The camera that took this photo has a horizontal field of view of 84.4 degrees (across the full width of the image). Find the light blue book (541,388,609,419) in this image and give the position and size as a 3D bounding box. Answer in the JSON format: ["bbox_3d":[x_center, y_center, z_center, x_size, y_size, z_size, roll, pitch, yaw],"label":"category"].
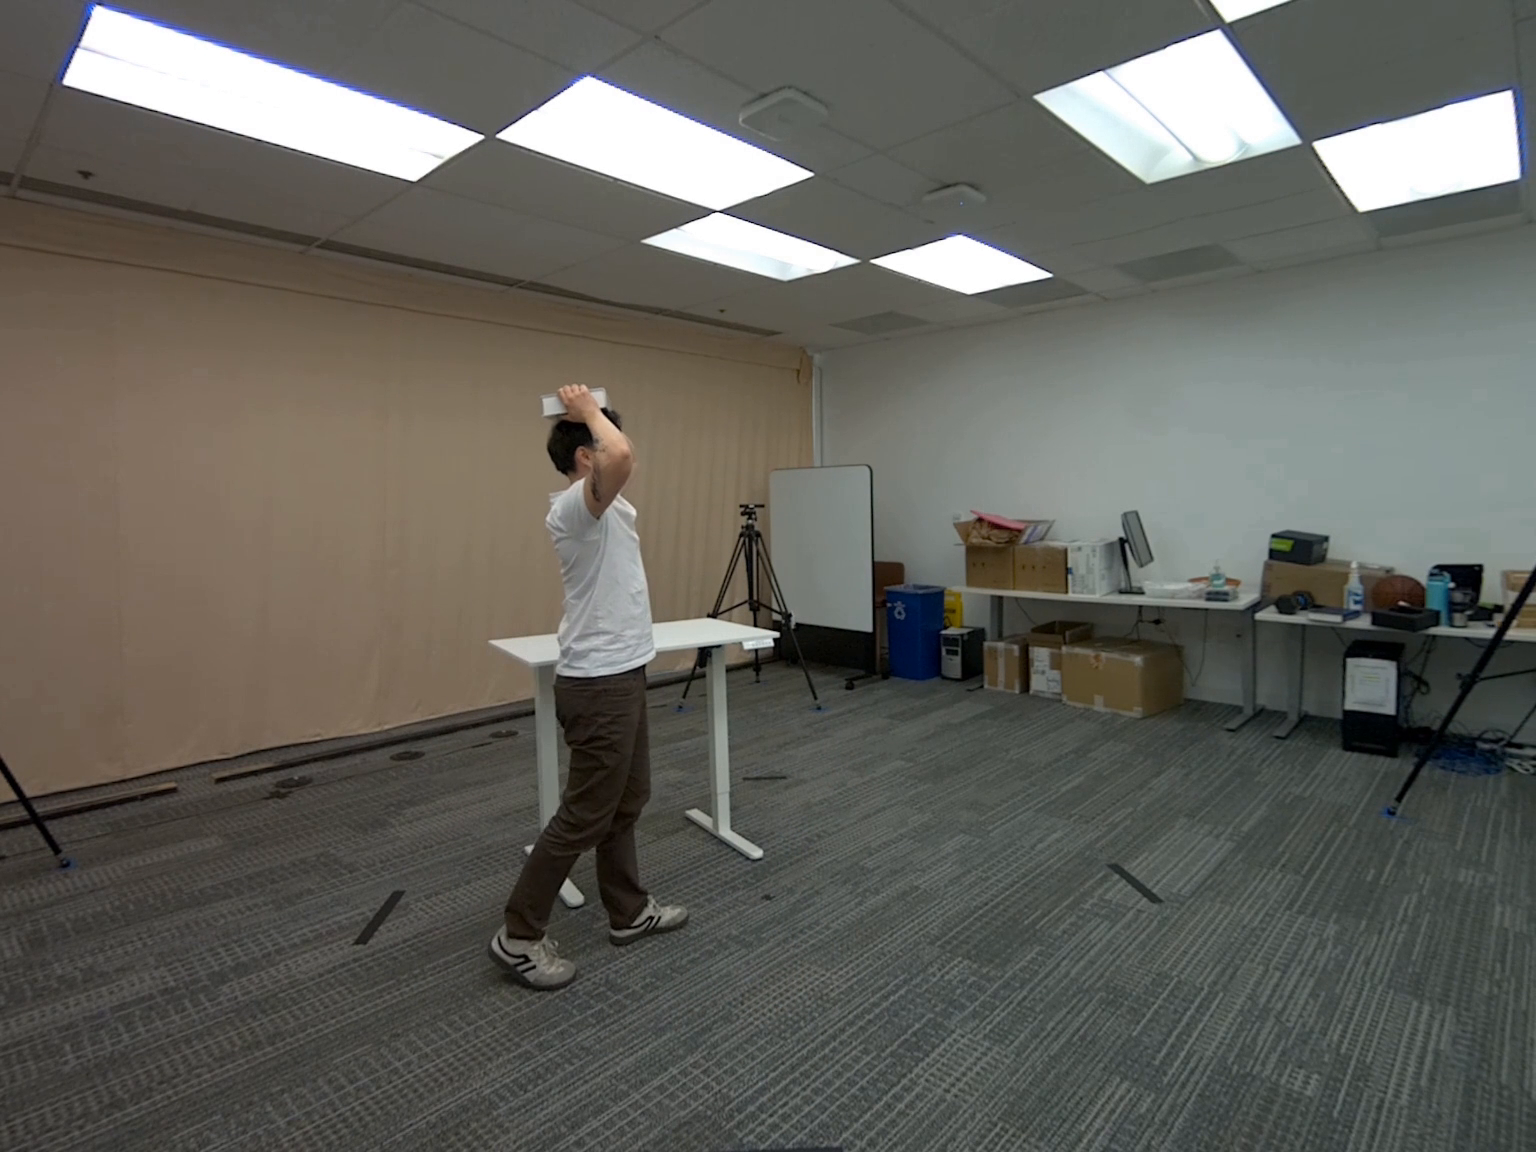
[{"bbox_3d":[-0.576,-0.519,2.543,0.190,0.058,0.264,-10,9,-5],"label":"light blue book"}]
